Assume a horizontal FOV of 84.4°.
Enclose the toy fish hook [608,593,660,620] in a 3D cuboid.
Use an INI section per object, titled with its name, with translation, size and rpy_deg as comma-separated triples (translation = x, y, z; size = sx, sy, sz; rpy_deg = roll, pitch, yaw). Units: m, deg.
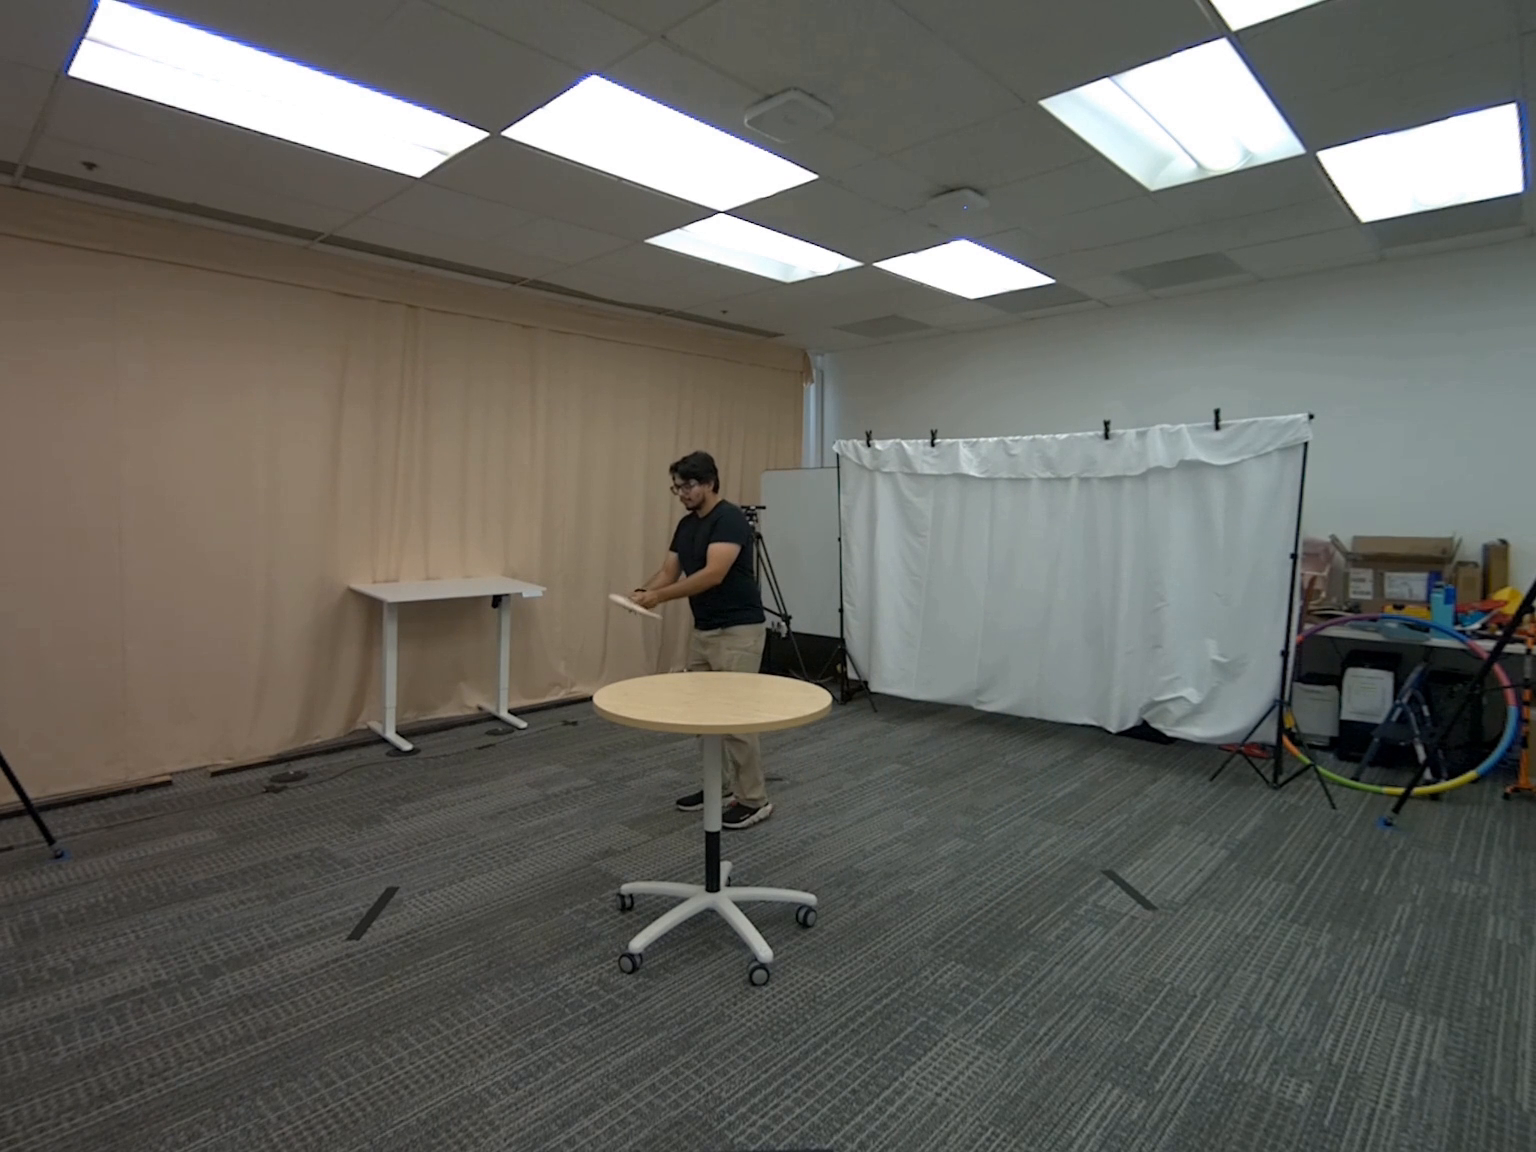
[toy fish hook]
translation = -0.539, 0.139, 3.564
size = 0.225, 0.048, 0.504
rpy_deg = 29, -2, 1
